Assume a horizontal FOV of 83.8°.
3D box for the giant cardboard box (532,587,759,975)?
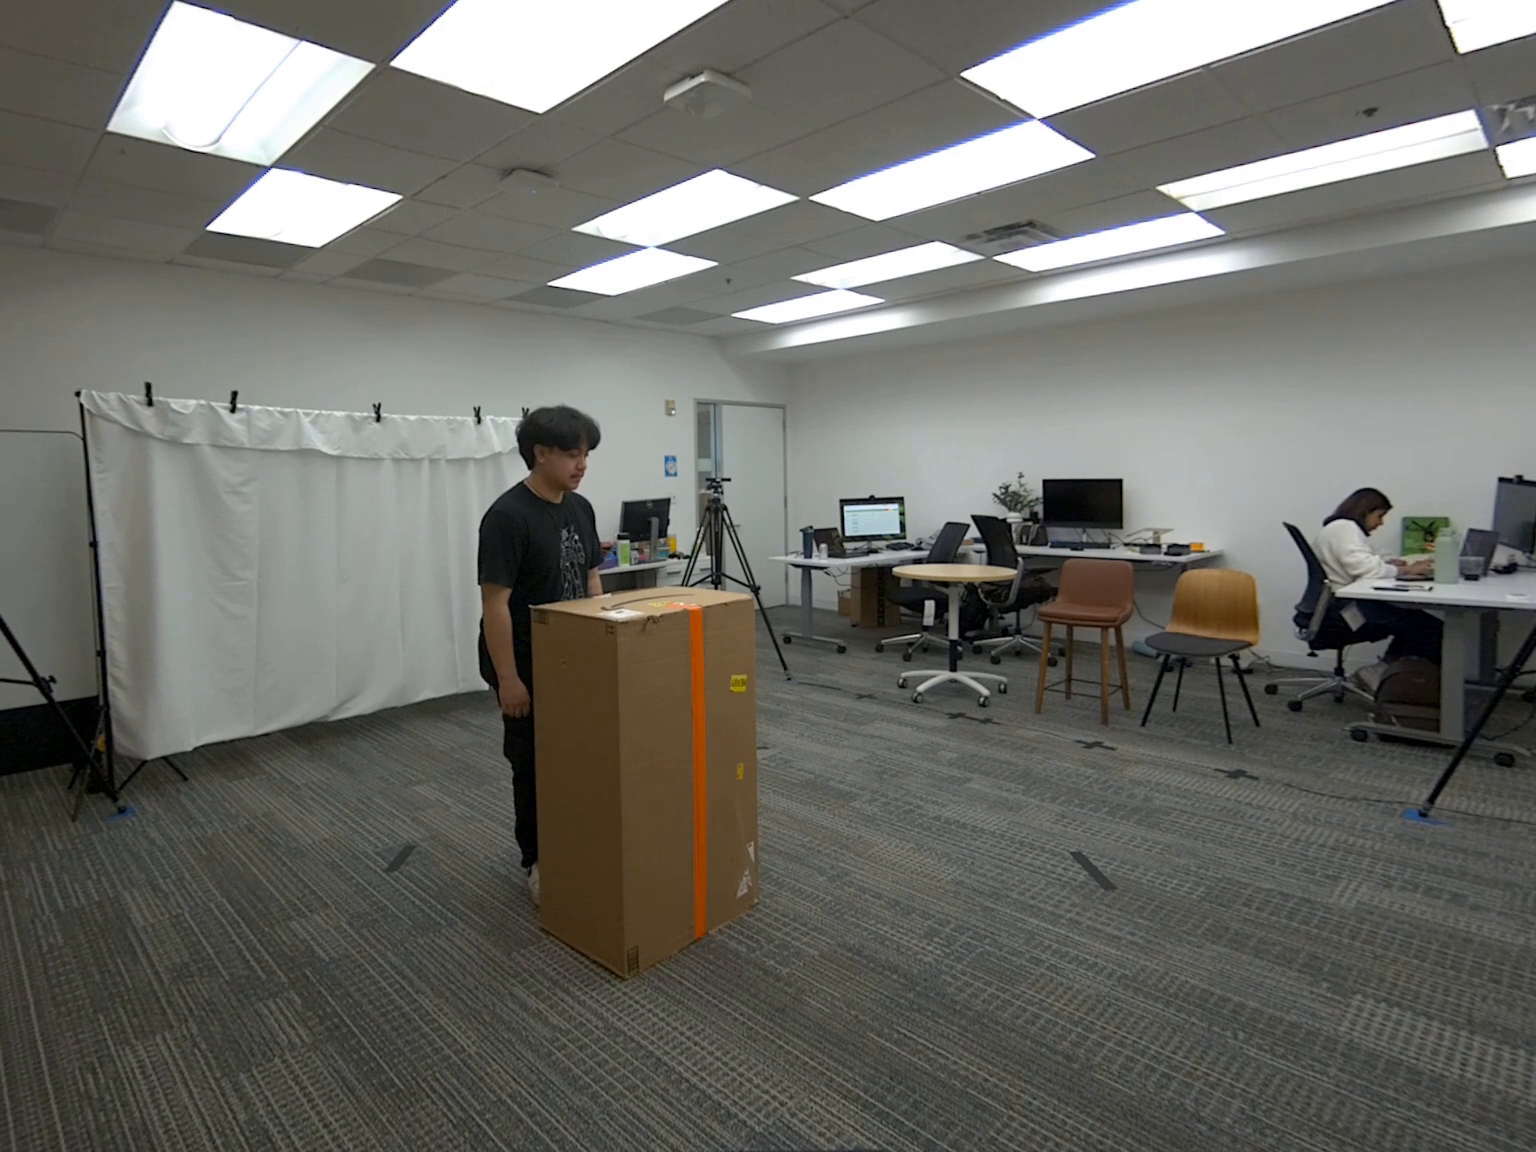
[{"bbox_3d":[-0.375,0.585,2.708,0.461,1.022,0.568,4,7,43],"label":"giant cardboard box"}]
